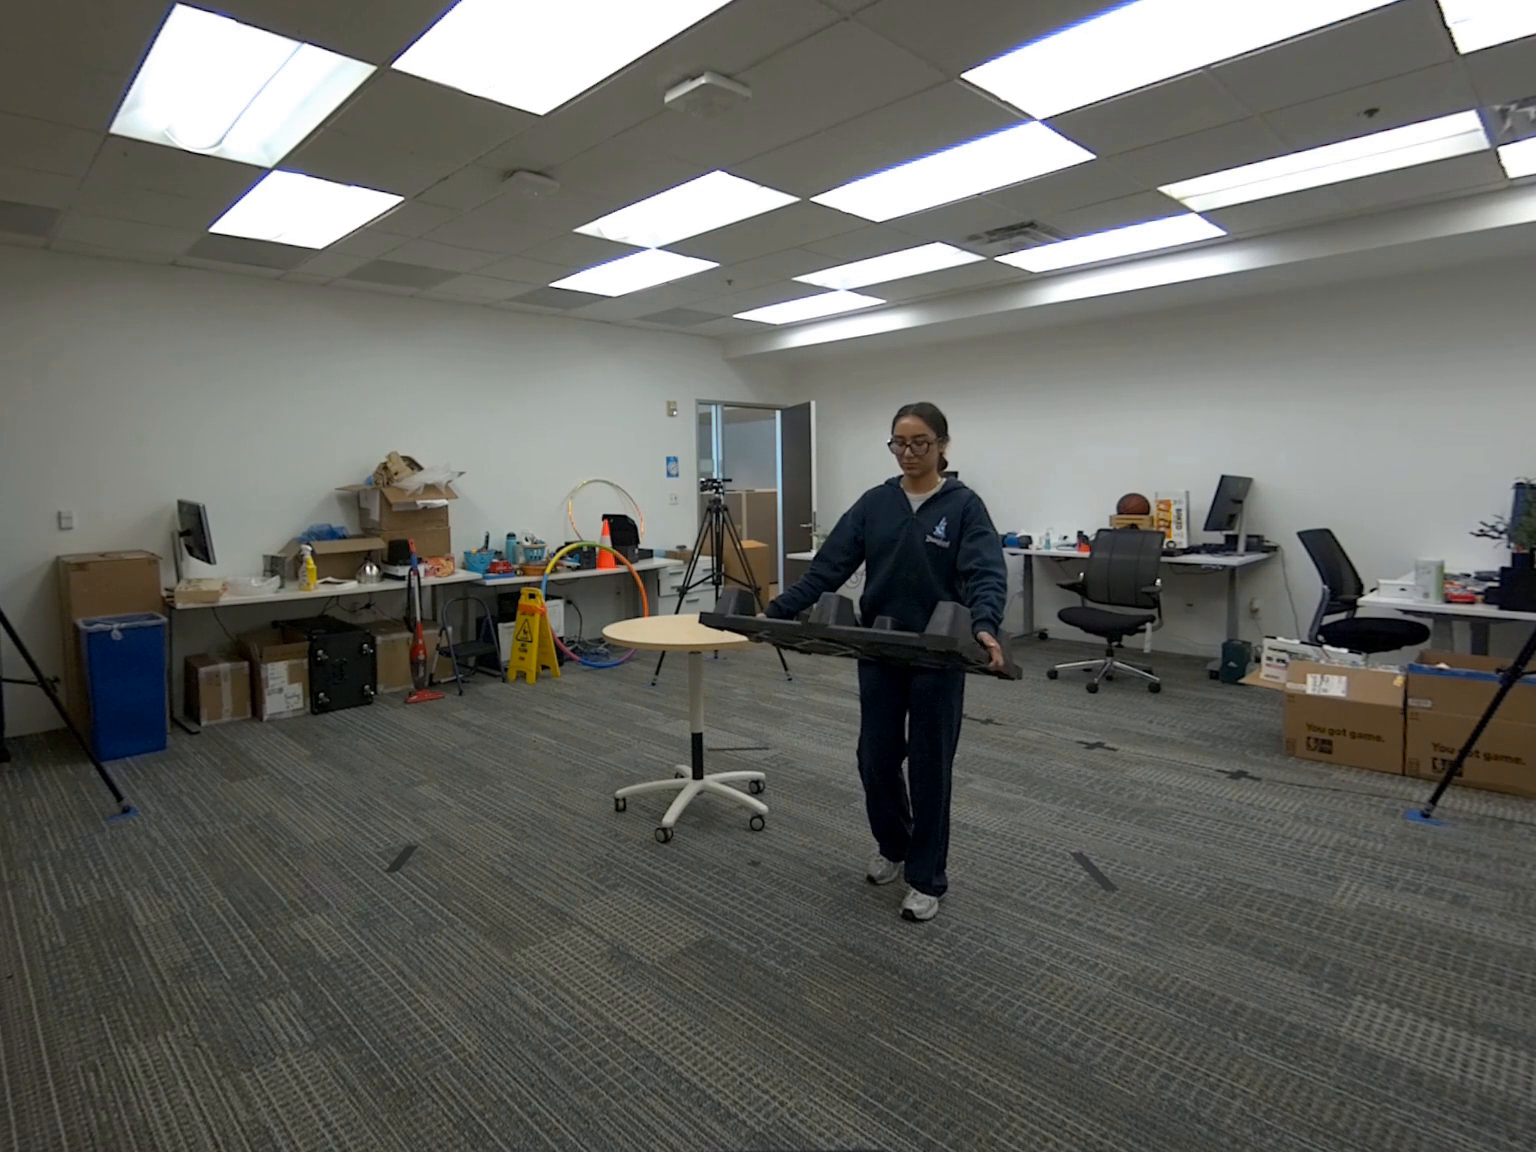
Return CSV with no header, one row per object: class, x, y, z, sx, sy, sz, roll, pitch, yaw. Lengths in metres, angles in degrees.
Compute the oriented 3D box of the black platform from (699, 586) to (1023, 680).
black platform,0.273,0.165,2.561,0.829,0.144,0.583,4,-11,34
